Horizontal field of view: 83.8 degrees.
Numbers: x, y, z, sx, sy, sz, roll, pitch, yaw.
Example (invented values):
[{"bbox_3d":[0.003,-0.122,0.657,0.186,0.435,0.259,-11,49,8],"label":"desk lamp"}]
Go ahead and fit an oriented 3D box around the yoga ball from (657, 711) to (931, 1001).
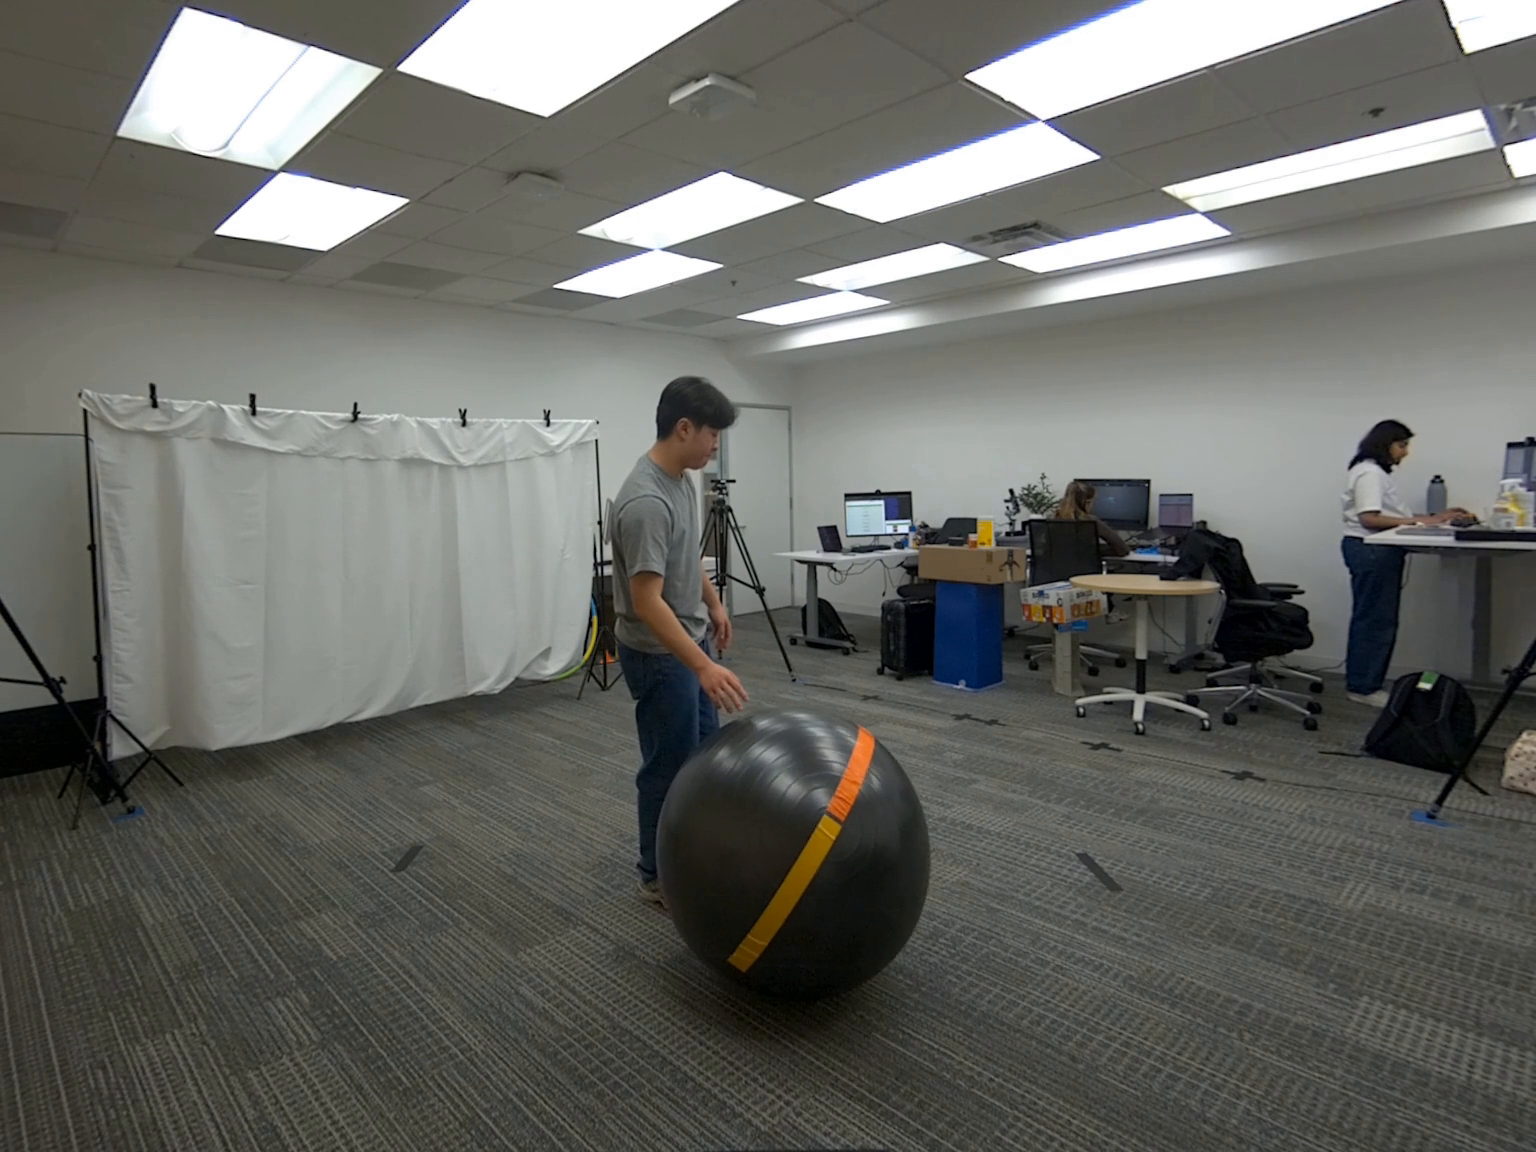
[{"bbox_3d":[0.075,0.762,2.357,0.757,0.755,0.762,-1,5,-2],"label":"yoga ball"}]
